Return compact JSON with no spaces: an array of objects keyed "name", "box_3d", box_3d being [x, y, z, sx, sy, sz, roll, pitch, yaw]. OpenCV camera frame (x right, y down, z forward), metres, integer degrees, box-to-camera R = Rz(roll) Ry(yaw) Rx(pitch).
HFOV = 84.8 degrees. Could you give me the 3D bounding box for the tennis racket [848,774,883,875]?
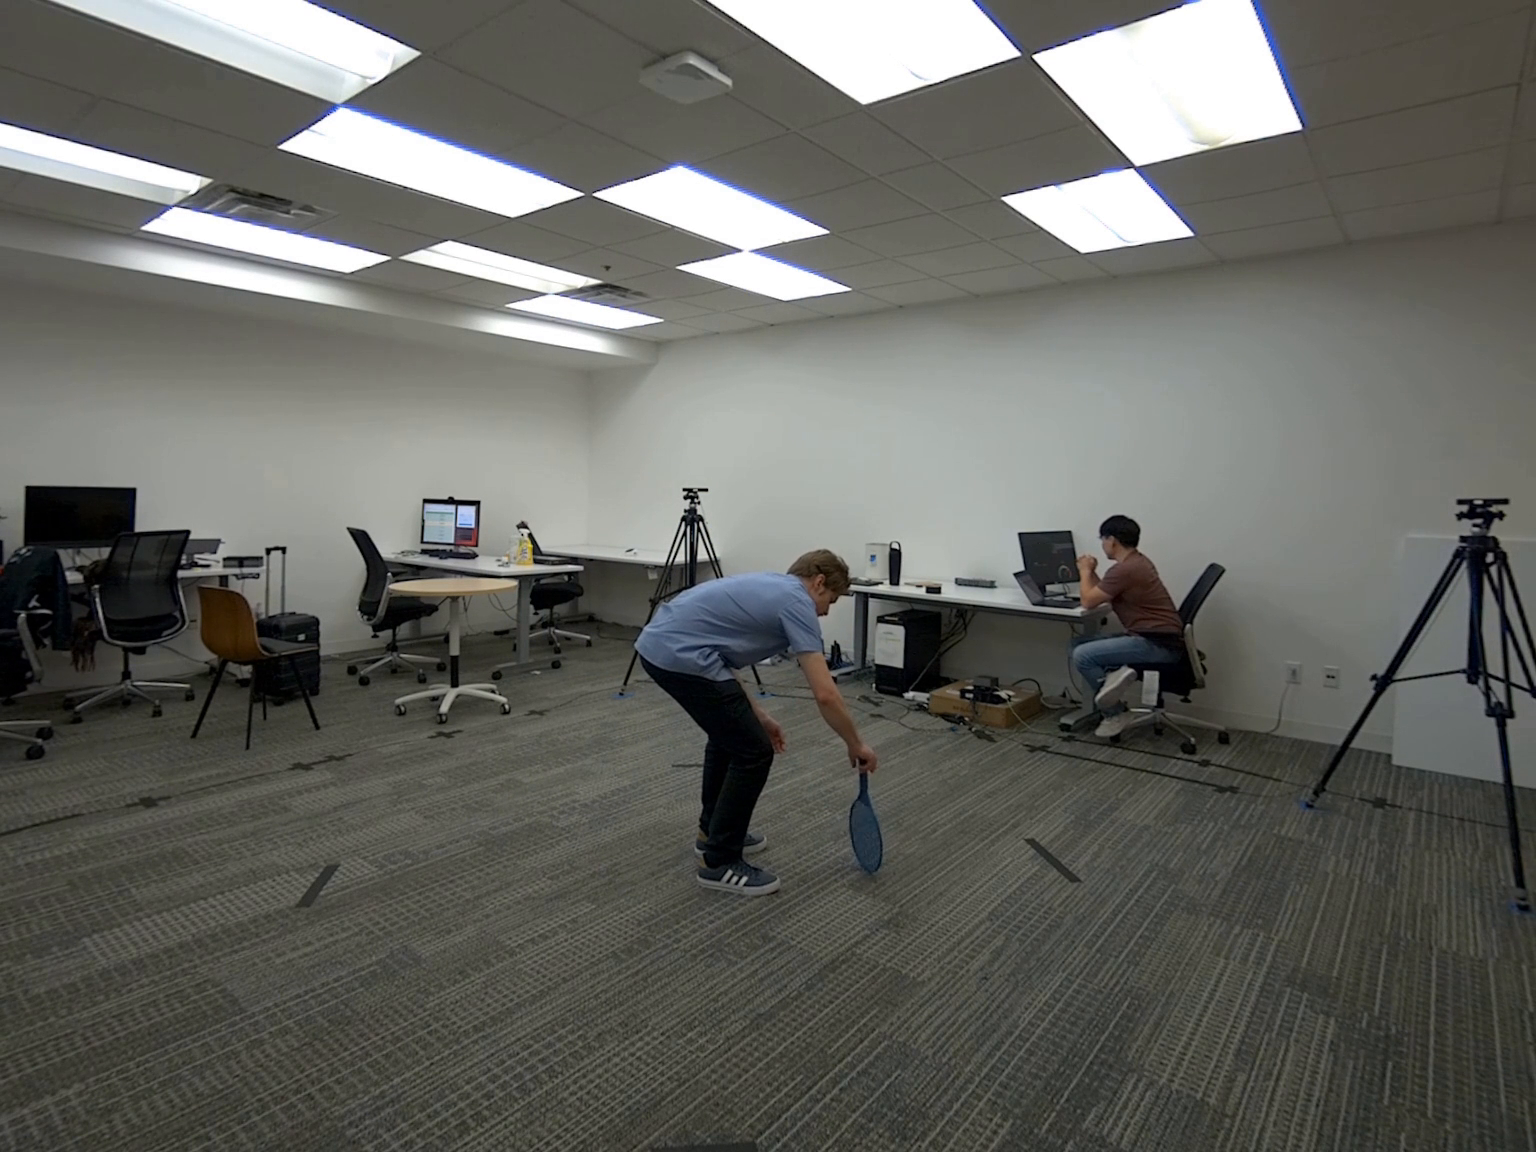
[{"name":"tennis racket","box_3d":[0.334,0.862,3.108,0.031,0.431,0.217,-4,5,-11]}]
